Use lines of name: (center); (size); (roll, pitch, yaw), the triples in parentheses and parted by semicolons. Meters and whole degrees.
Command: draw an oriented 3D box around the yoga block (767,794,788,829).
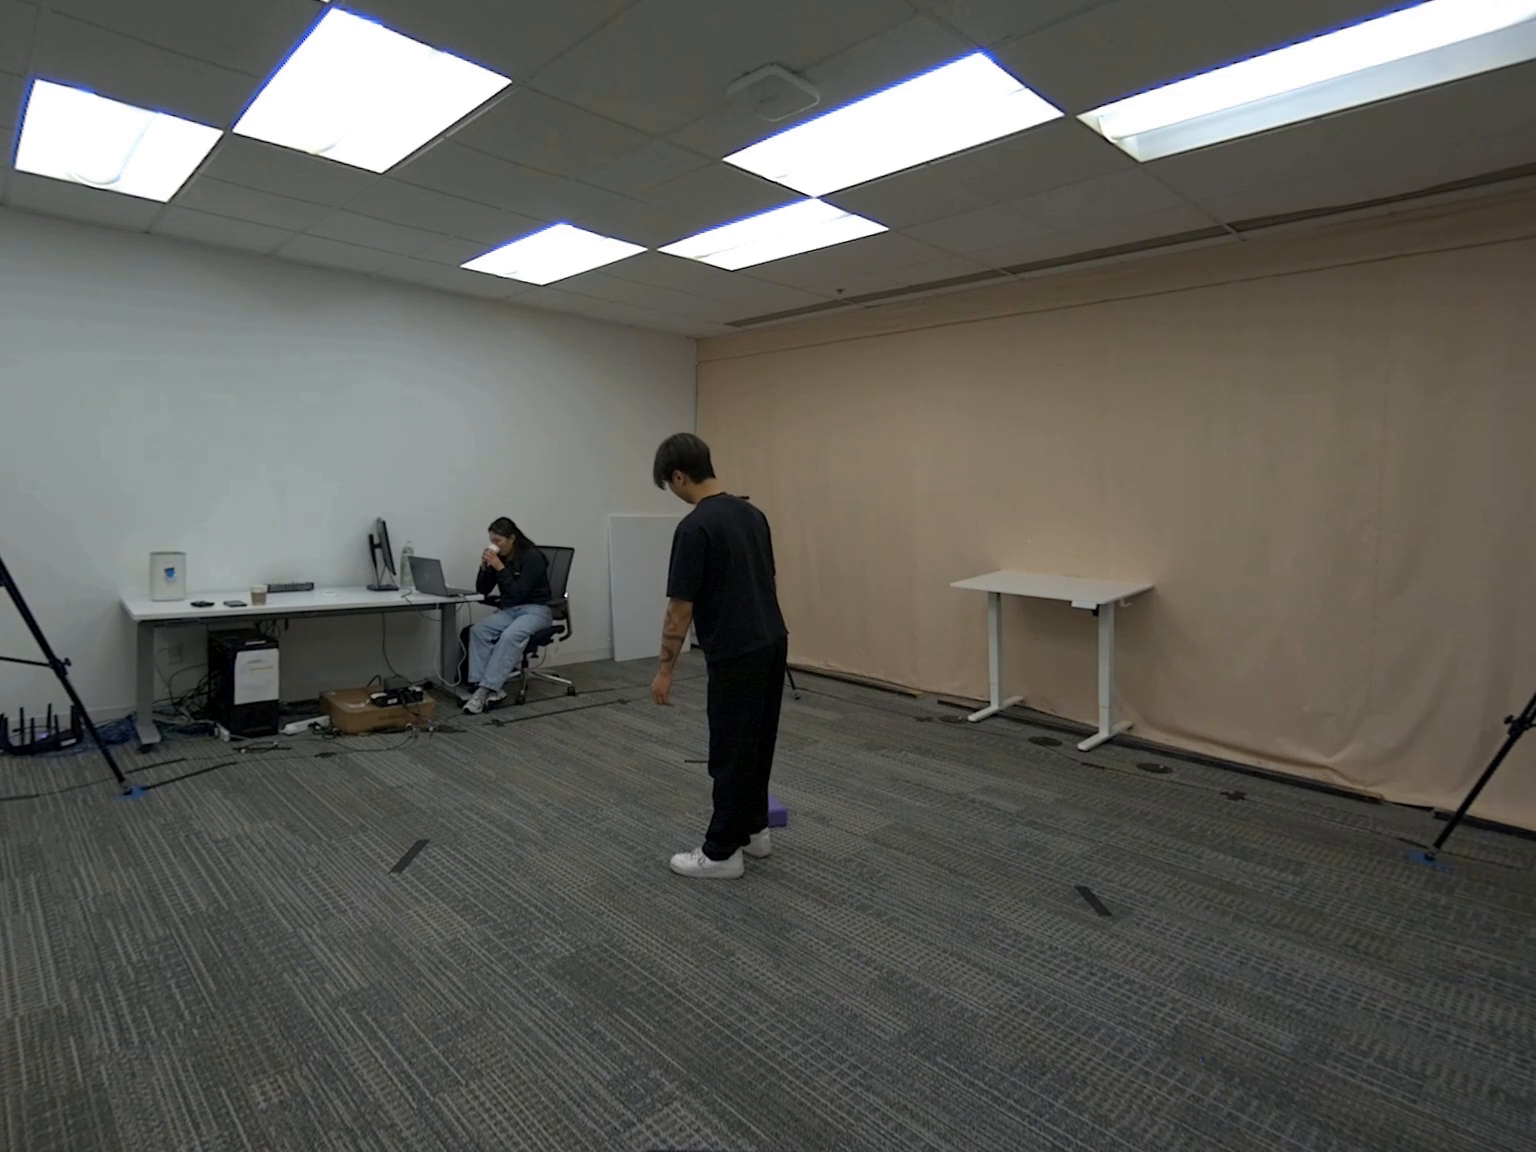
yoga block: (-0.030, 1.020, 3.673); (0.147, 0.076, 0.233); (-1, 6, -18)
